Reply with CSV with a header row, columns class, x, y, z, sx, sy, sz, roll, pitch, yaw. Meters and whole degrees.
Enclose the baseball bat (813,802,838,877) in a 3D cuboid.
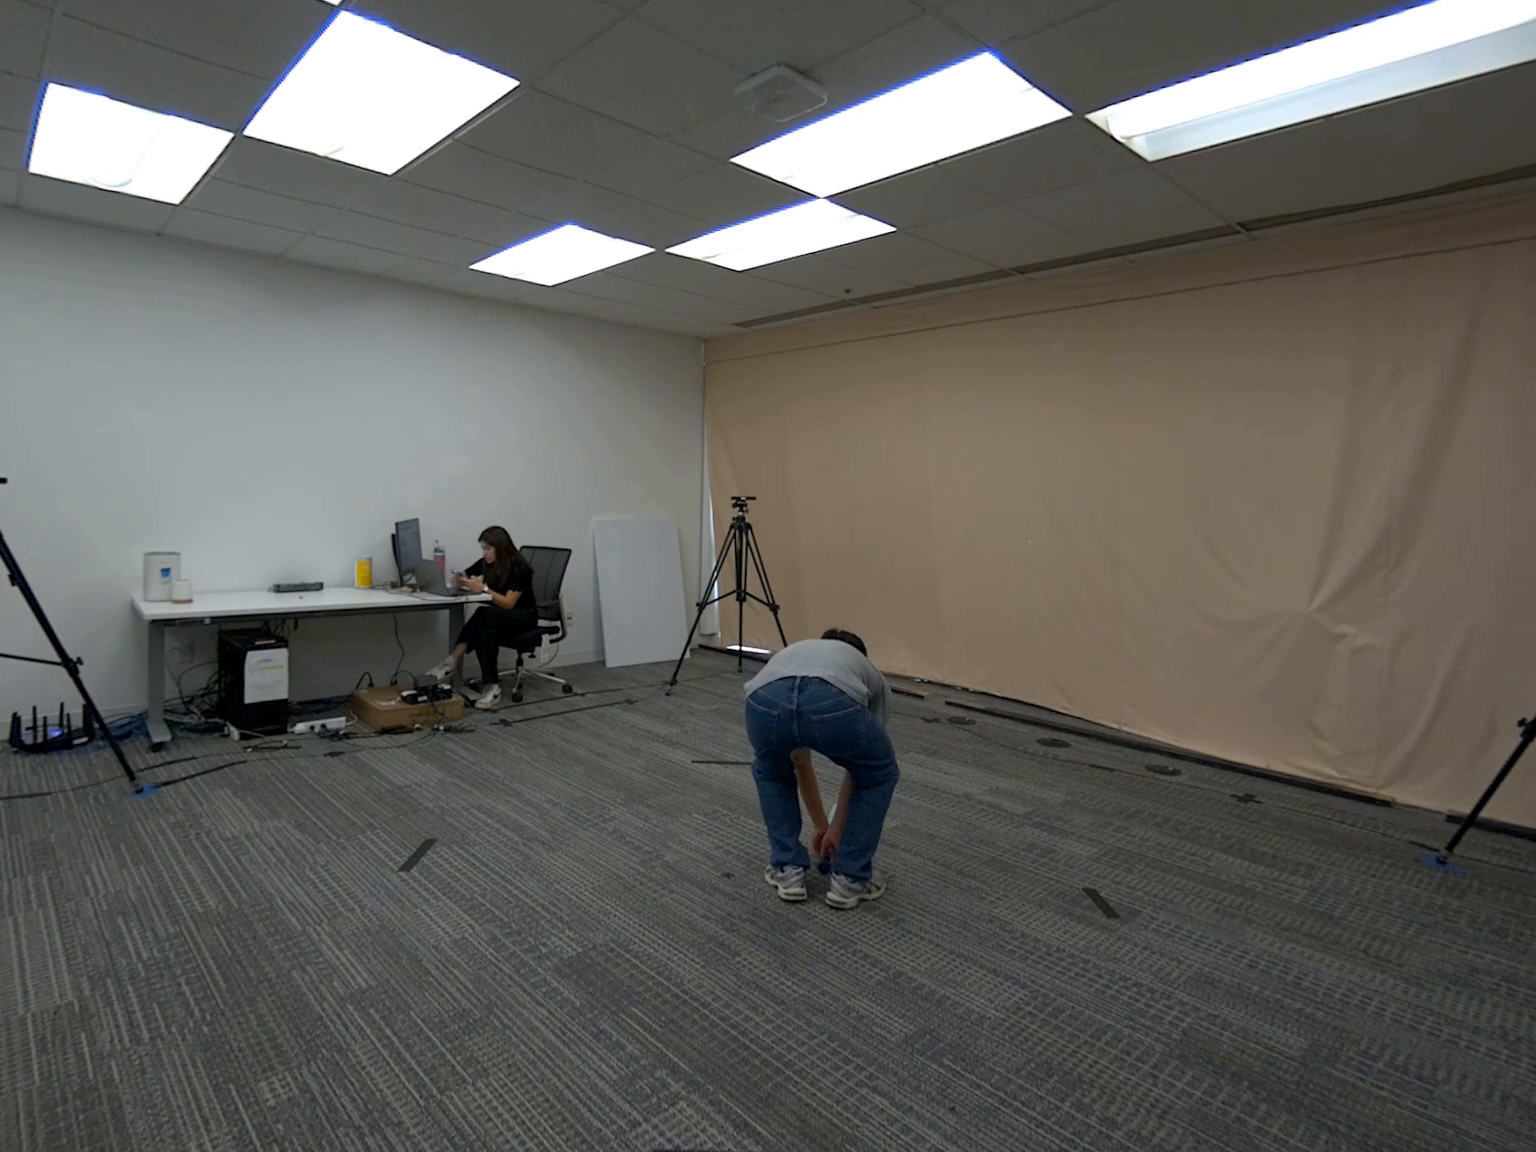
class,x,y,z,sx,sy,sz,roll,pitch,yaw
baseball bat,0.262,1.056,3.391,0.090,0.088,0.541,2,8,9
